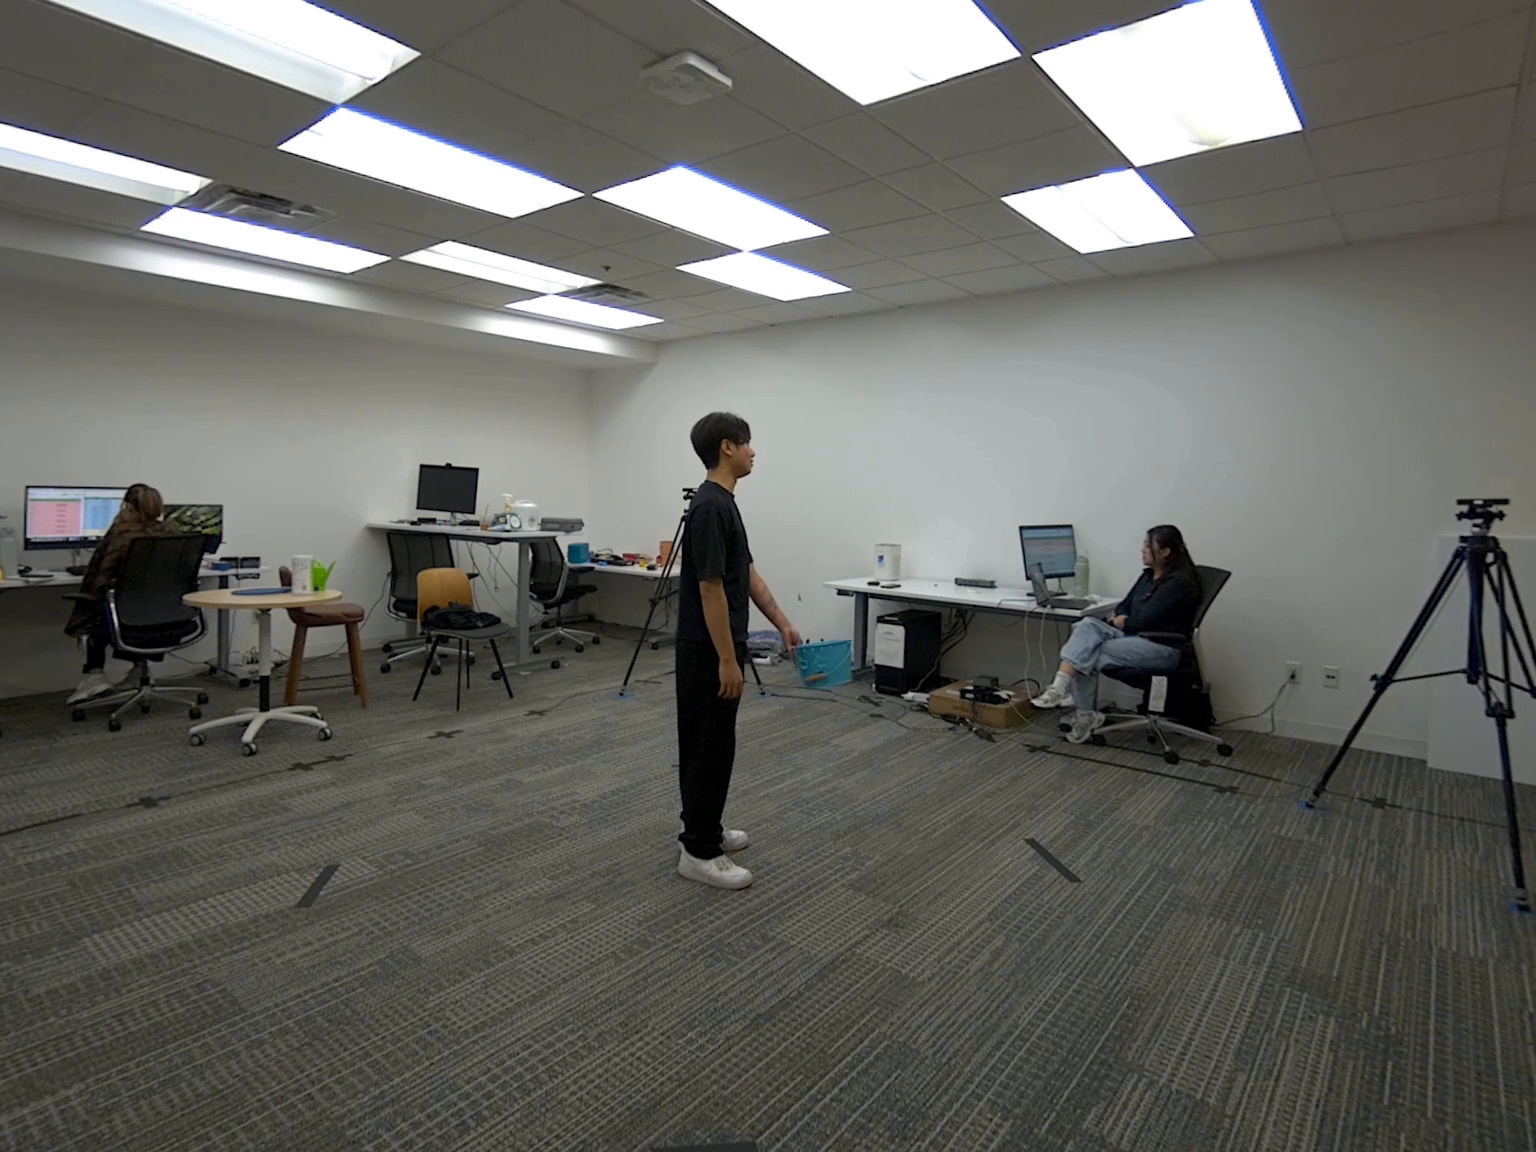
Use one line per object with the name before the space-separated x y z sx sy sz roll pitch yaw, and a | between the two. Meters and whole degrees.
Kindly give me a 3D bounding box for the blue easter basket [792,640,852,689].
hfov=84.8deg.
blue easter basket | 0.181 0.329 3.182 0.243 0.156 0.243 -7 -2 -2
